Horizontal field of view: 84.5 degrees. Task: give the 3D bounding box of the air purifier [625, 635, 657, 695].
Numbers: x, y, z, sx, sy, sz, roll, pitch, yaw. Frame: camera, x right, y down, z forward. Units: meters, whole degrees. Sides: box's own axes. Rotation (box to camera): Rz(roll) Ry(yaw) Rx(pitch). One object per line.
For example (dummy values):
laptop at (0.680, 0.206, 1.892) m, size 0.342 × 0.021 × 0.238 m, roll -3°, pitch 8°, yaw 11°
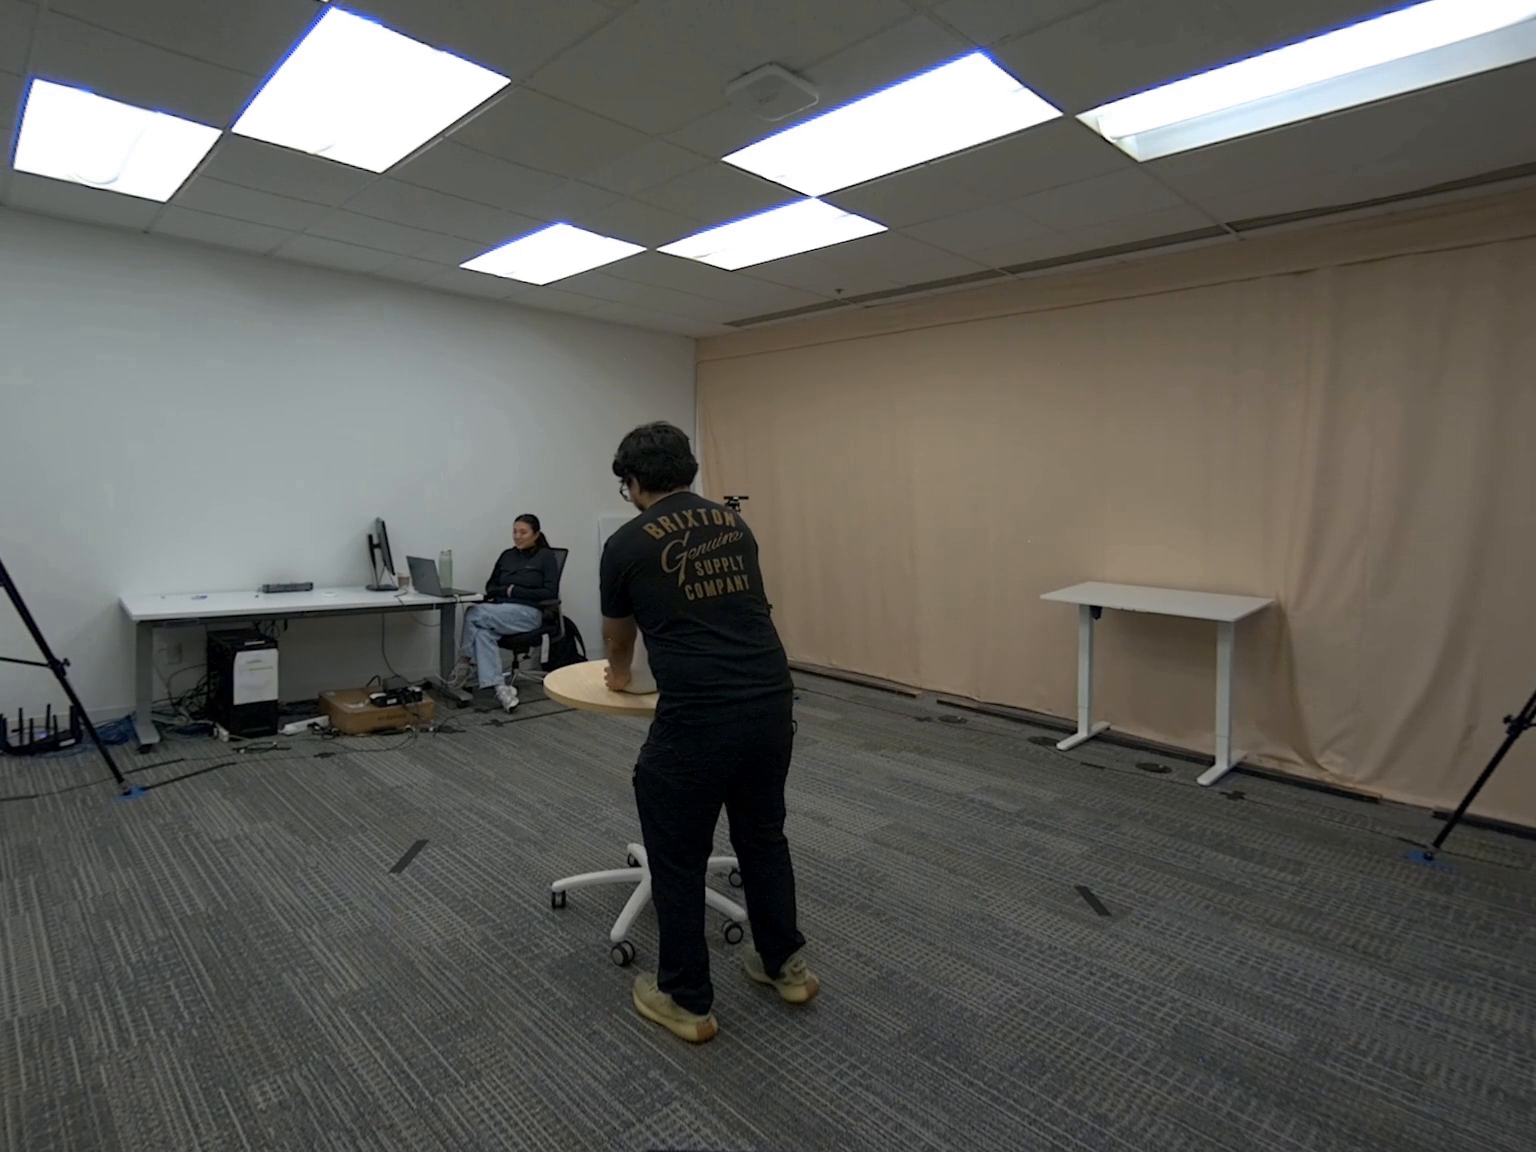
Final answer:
air purifier at (-0.400, 0.227, 2.634) m, size 0.176 × 0.264 × 0.167 m, roll 5°, pitch 5°, yaw 40°
